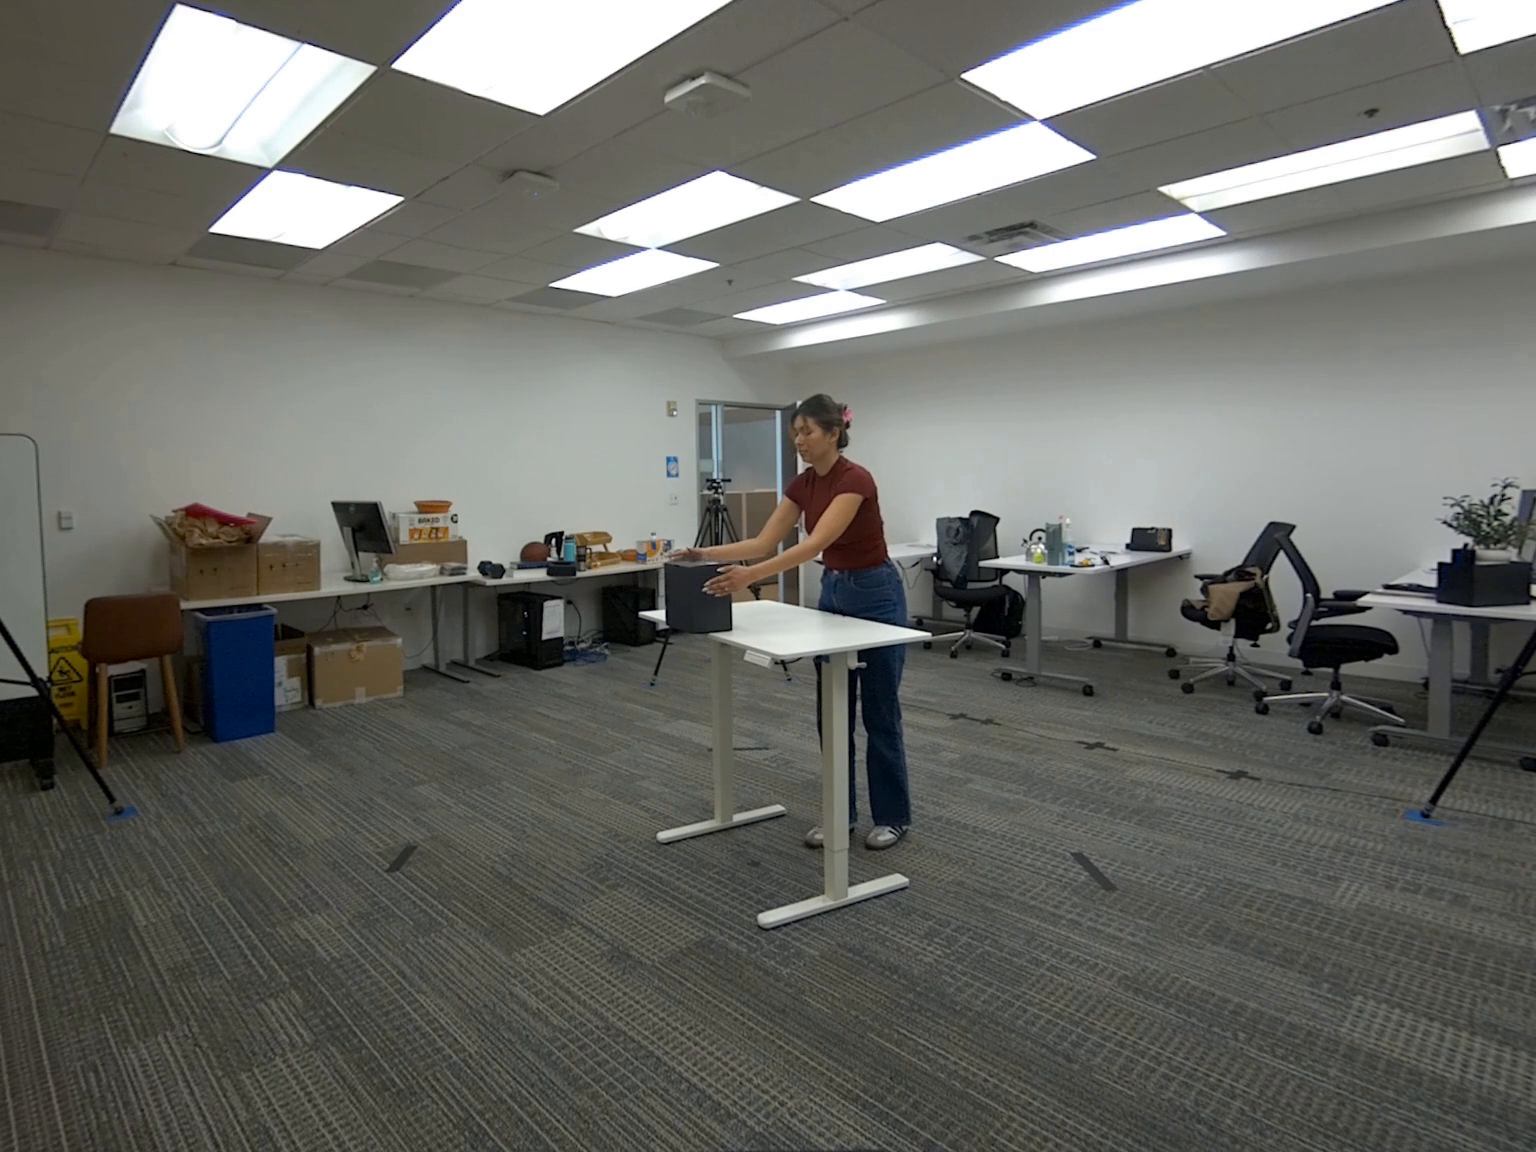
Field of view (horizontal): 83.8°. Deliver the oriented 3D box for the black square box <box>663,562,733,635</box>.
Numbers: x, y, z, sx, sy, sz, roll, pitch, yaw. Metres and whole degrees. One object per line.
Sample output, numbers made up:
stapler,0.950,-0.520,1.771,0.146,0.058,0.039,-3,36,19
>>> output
black square box,-0.242,0.068,2.947,0.152,0.227,0.223,-3,5,-33
